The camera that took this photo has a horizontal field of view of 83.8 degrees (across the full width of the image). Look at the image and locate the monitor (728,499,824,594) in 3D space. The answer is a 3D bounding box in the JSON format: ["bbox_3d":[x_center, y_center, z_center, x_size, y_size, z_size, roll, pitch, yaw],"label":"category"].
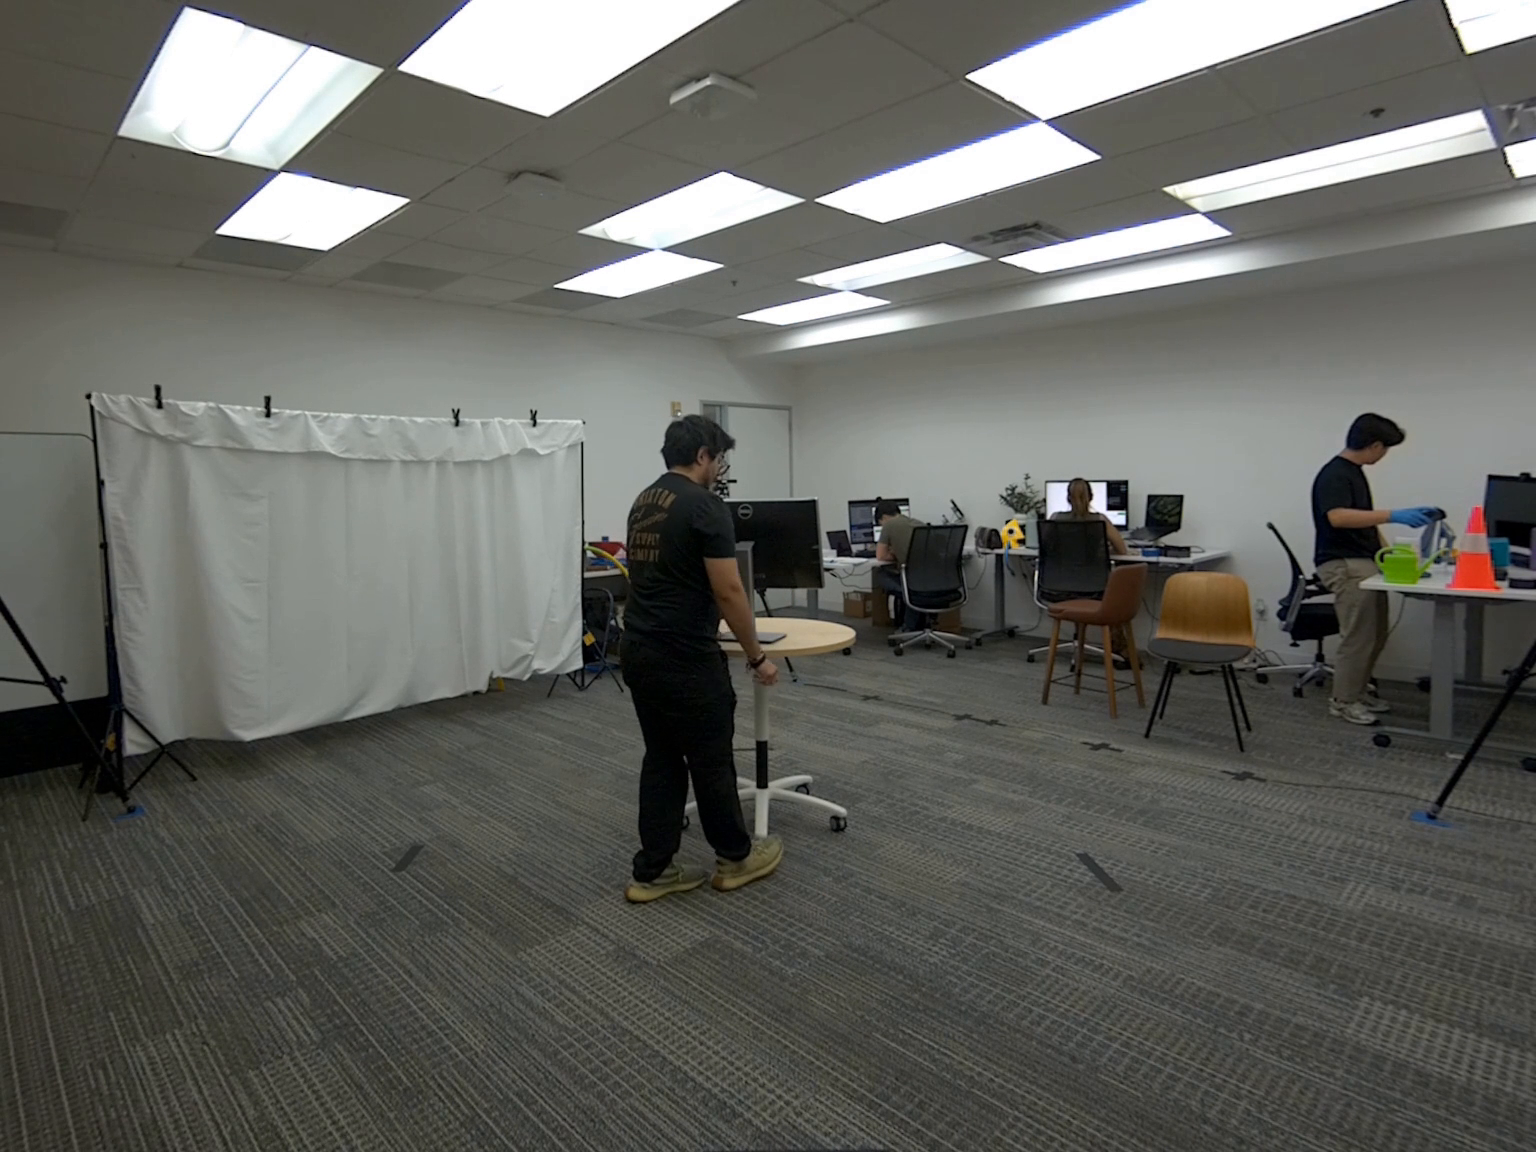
[{"bbox_3d":[-0.078,-0.020,3.291,0.576,0.549,0.208,1,10,20],"label":"monitor"}]
